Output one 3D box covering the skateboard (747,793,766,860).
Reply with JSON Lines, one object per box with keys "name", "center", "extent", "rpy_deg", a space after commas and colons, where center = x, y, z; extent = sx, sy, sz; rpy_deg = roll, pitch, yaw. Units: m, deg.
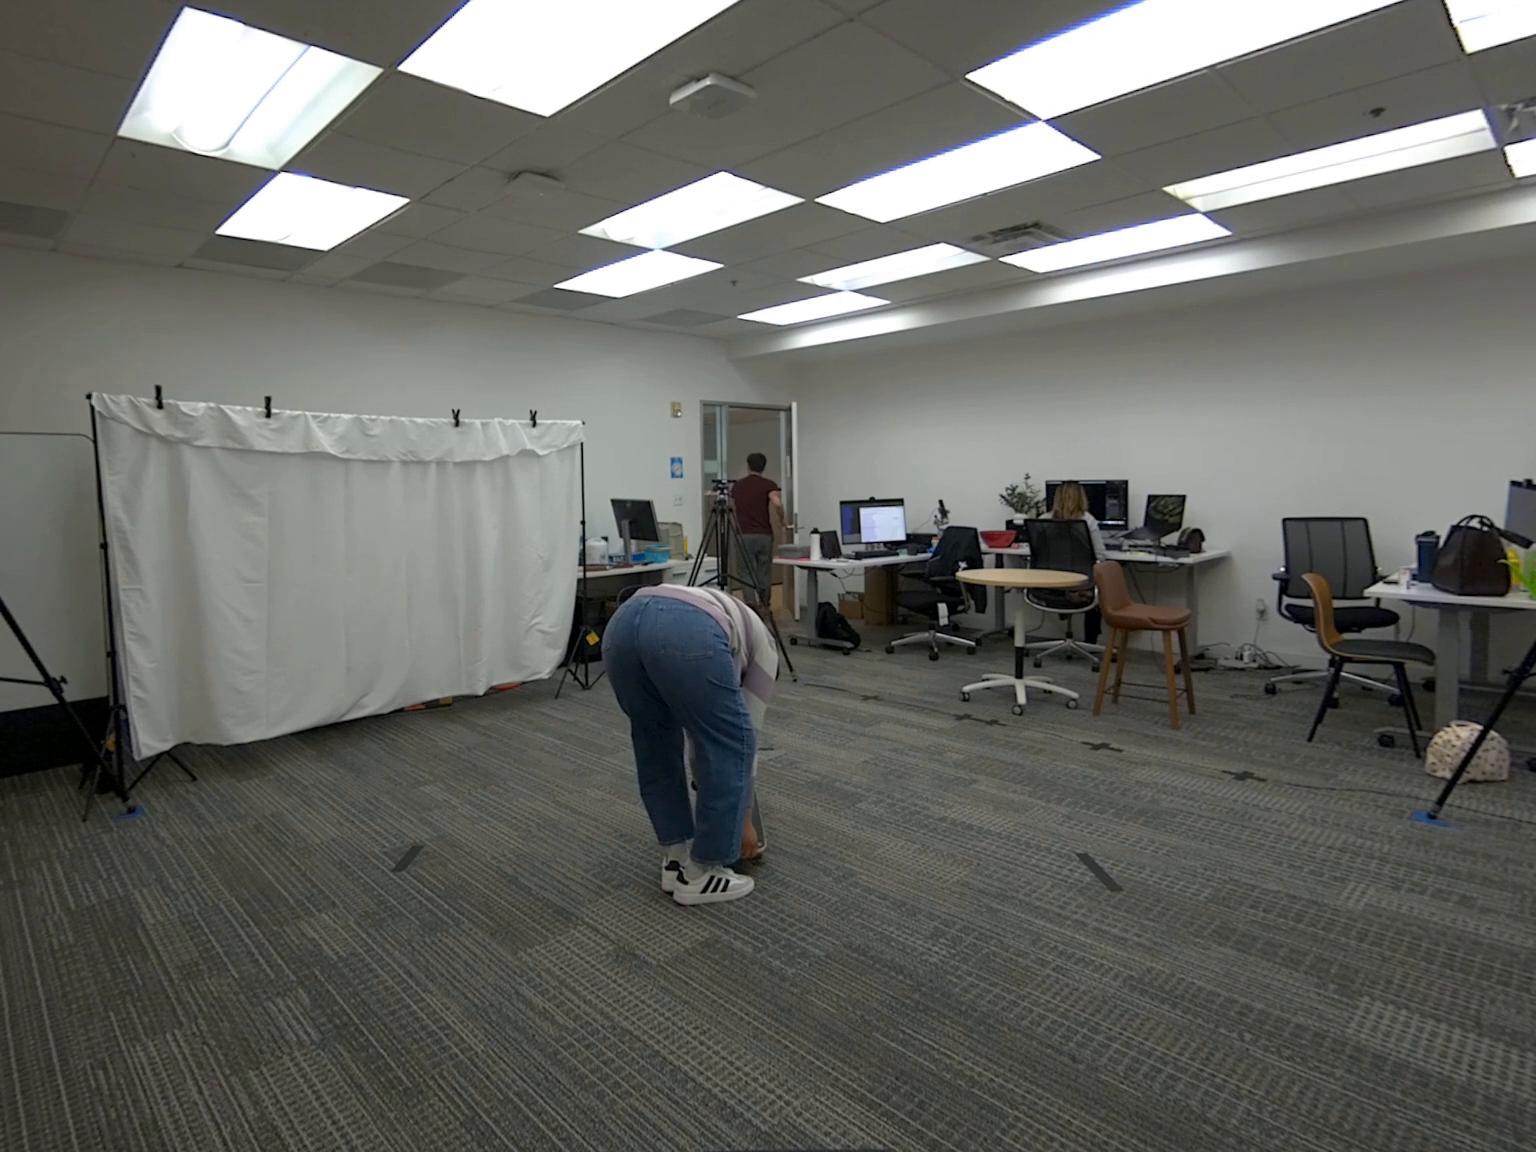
{"name": "skateboard", "center": [-0.115, 0.964, 3.356], "extent": [0.192, 0.110, 0.793], "rpy_deg": [0, 7, -6]}
